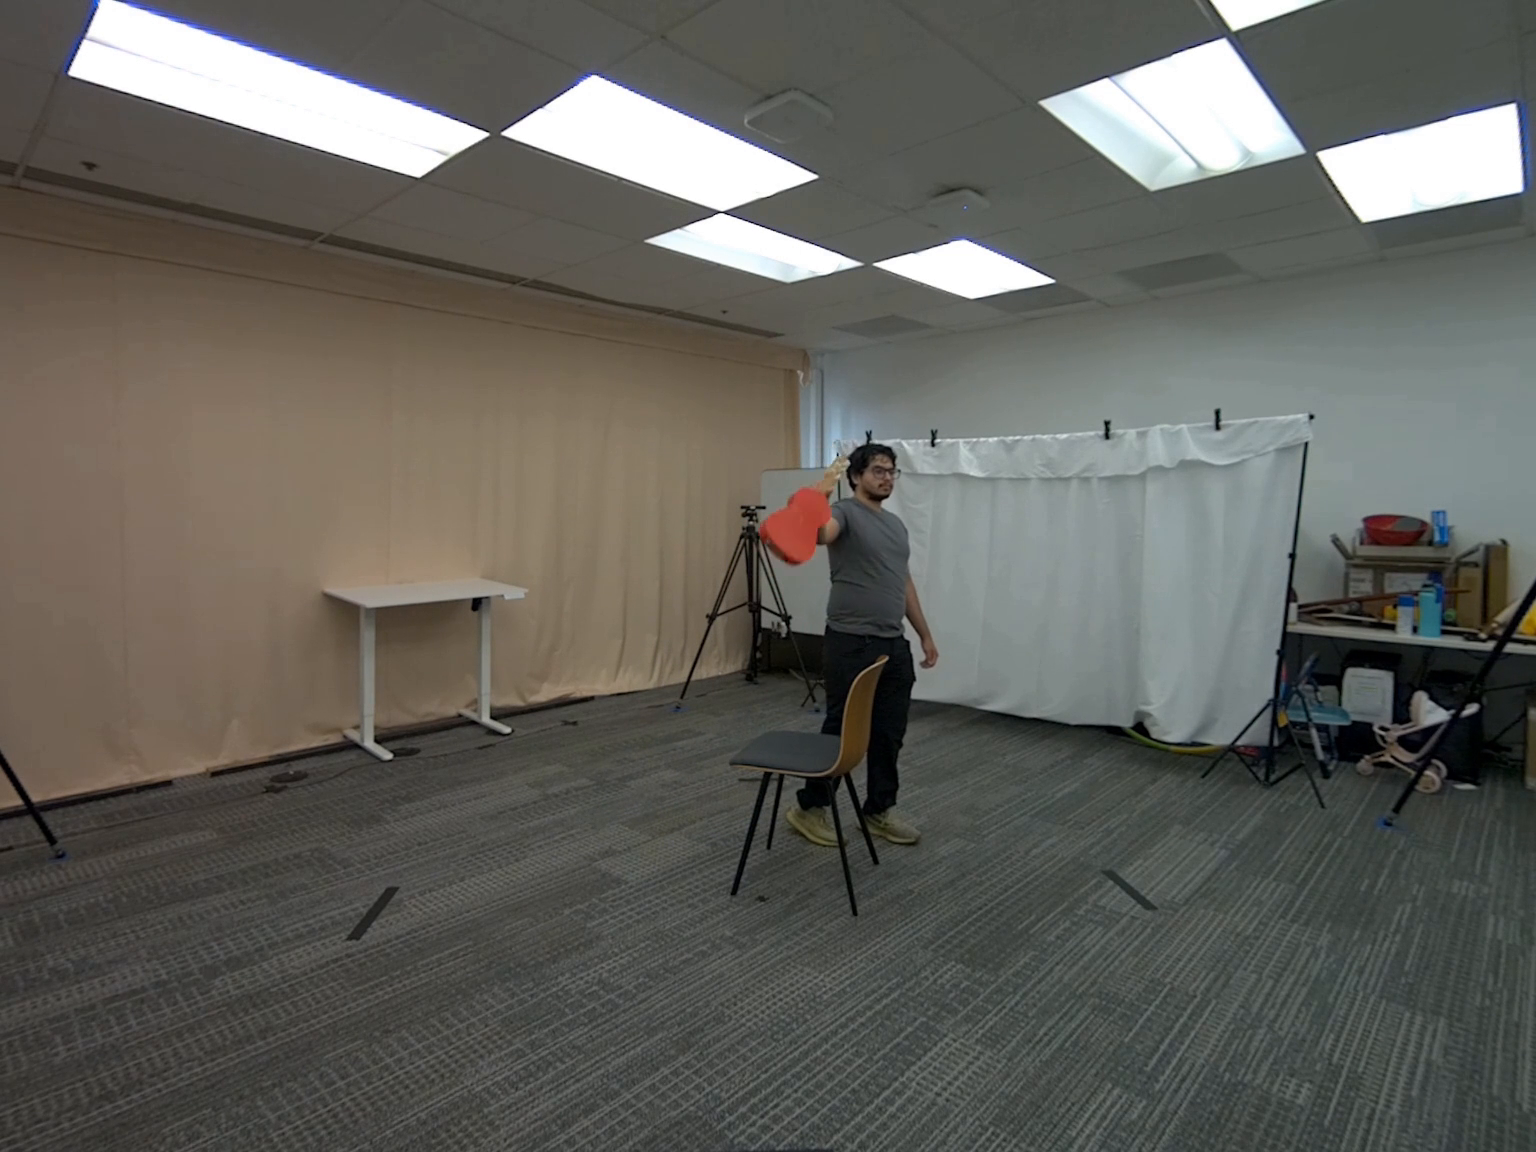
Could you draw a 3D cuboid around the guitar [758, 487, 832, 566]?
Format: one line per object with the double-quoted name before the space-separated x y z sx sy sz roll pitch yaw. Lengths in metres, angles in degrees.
"guitar" 0.147 -0.266 2.884 0.190 0.499 0.071 32 -29 -11
